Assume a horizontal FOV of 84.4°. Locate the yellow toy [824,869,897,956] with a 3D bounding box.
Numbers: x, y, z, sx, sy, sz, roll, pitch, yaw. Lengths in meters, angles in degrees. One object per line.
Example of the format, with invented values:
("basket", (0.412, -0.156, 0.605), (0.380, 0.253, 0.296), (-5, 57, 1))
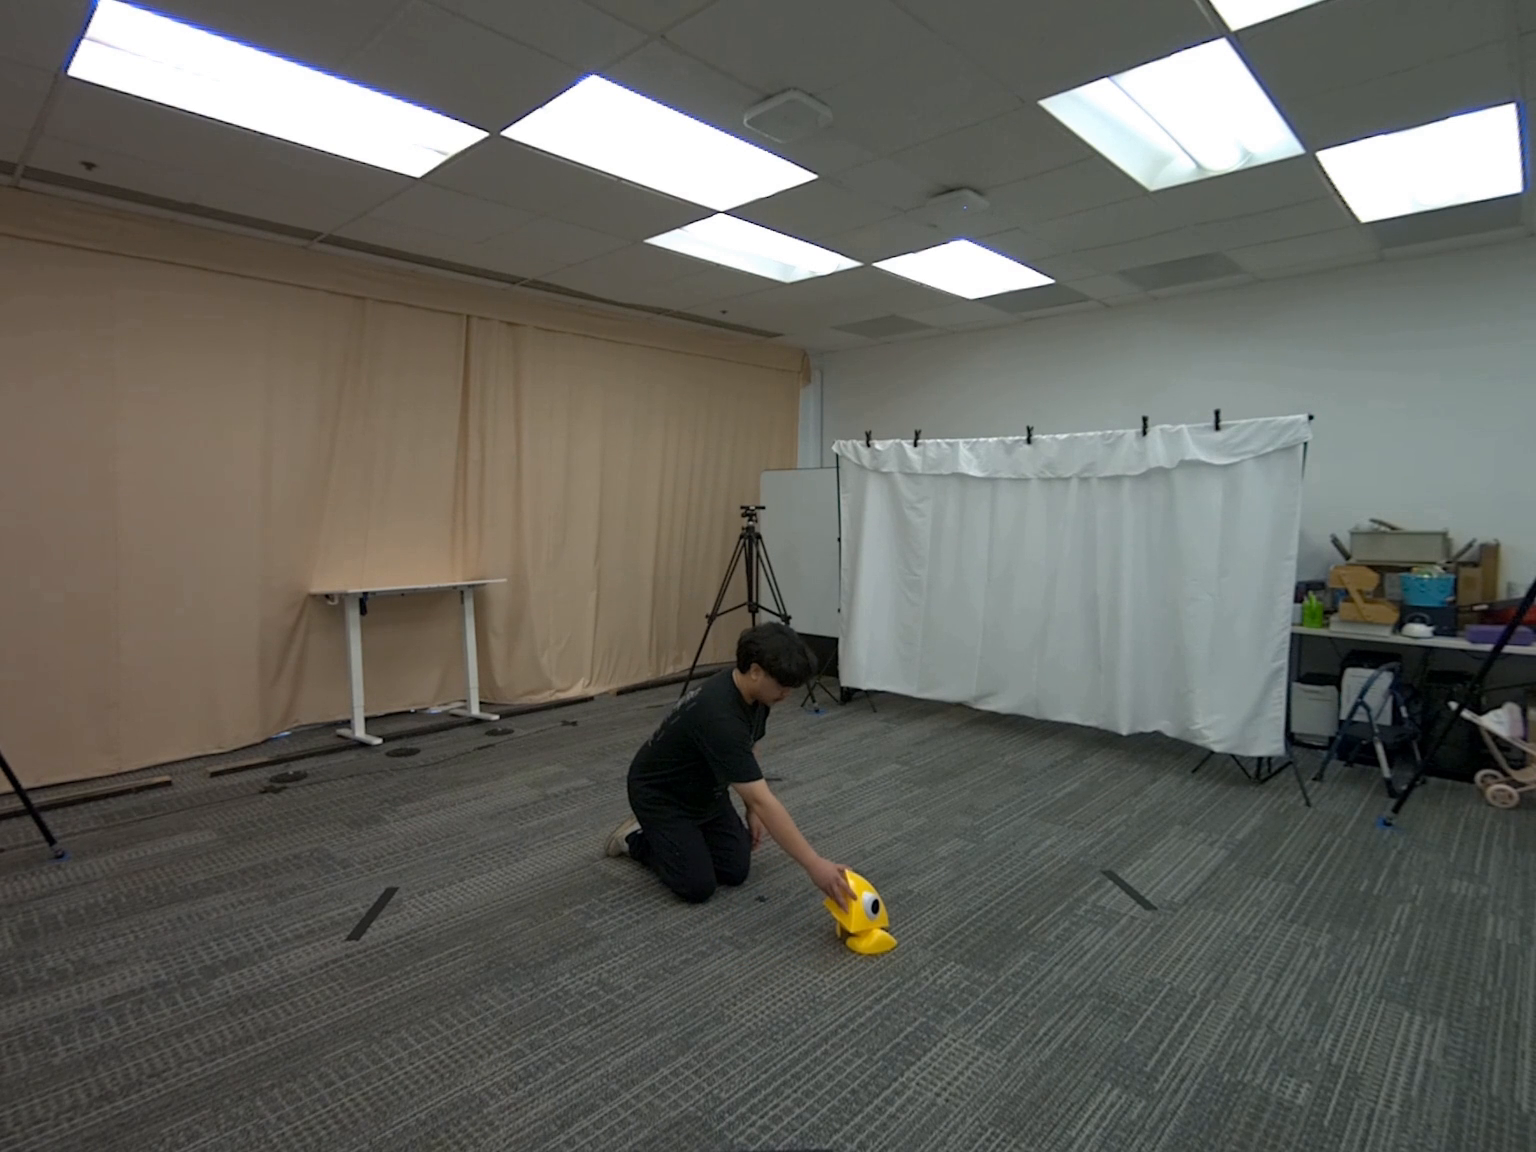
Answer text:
("yellow toy", (0.312, 1.053, 2.706), (0.189, 0.230, 0.209), (-1, 3, -19))
